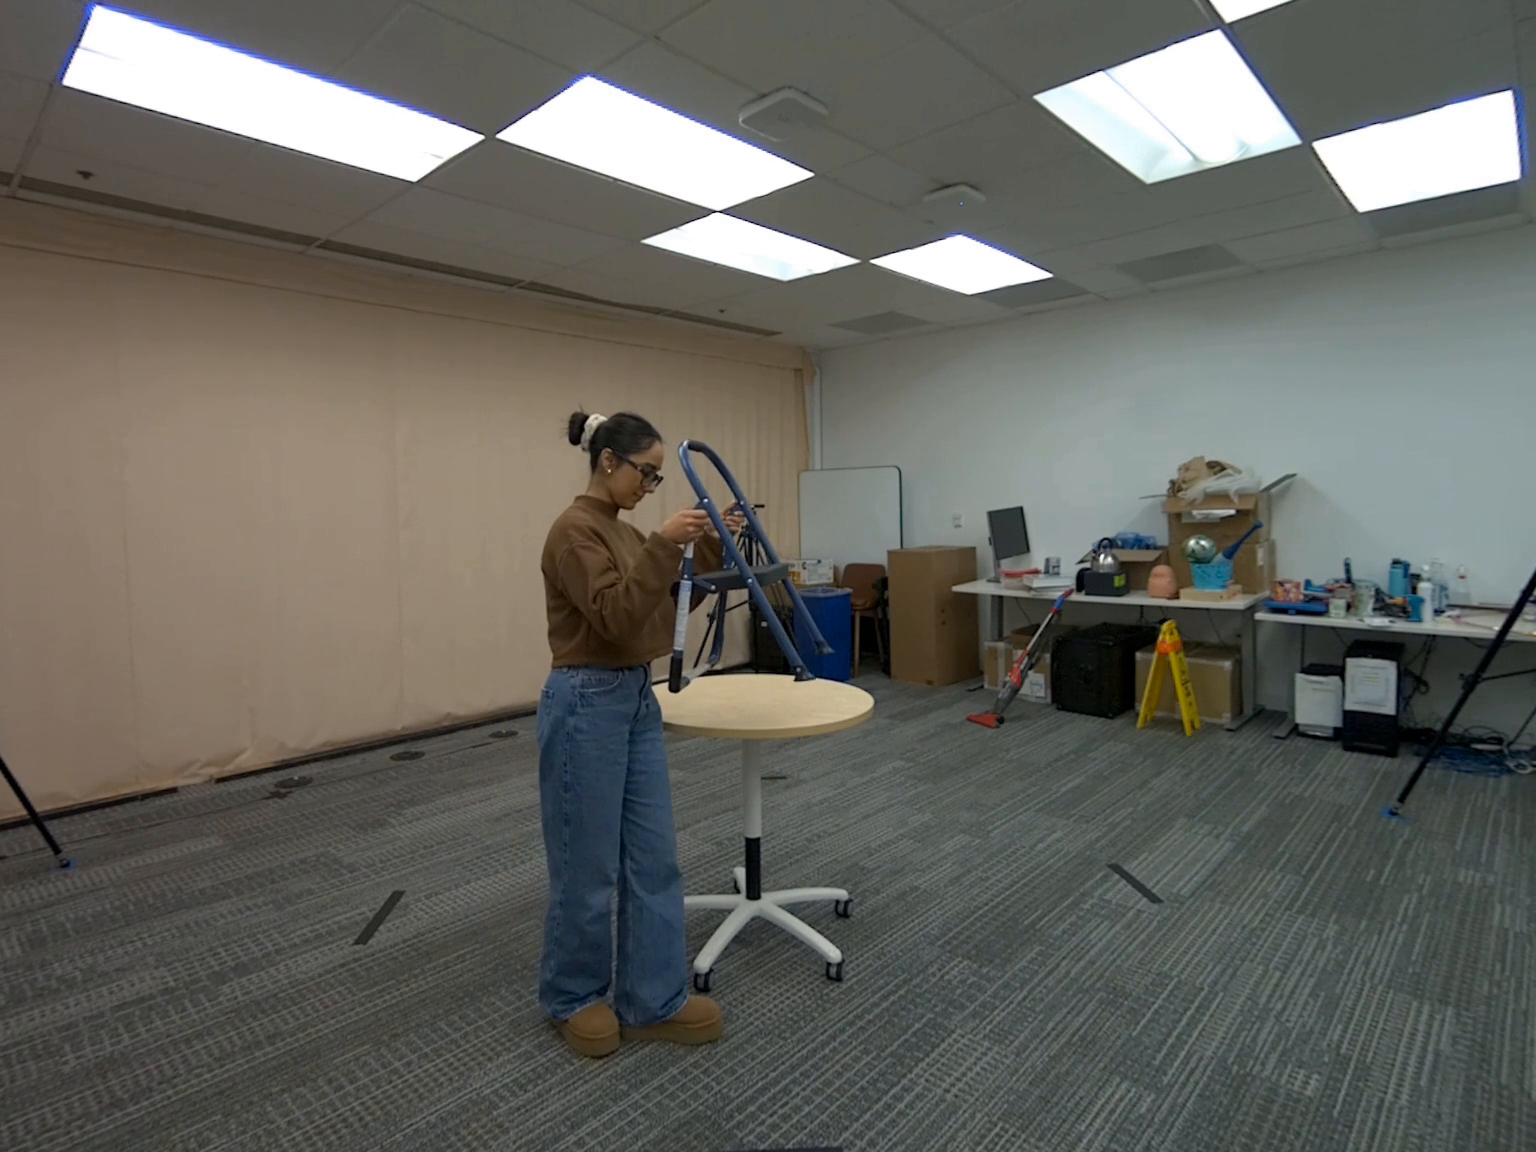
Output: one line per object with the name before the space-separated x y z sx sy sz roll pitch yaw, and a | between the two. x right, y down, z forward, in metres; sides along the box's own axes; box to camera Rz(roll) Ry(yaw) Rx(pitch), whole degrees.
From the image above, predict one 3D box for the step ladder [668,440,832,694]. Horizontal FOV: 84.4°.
step ladder | -0.071 -0.057 2.142 0.354 0.606 0.424 -8 -1 13
